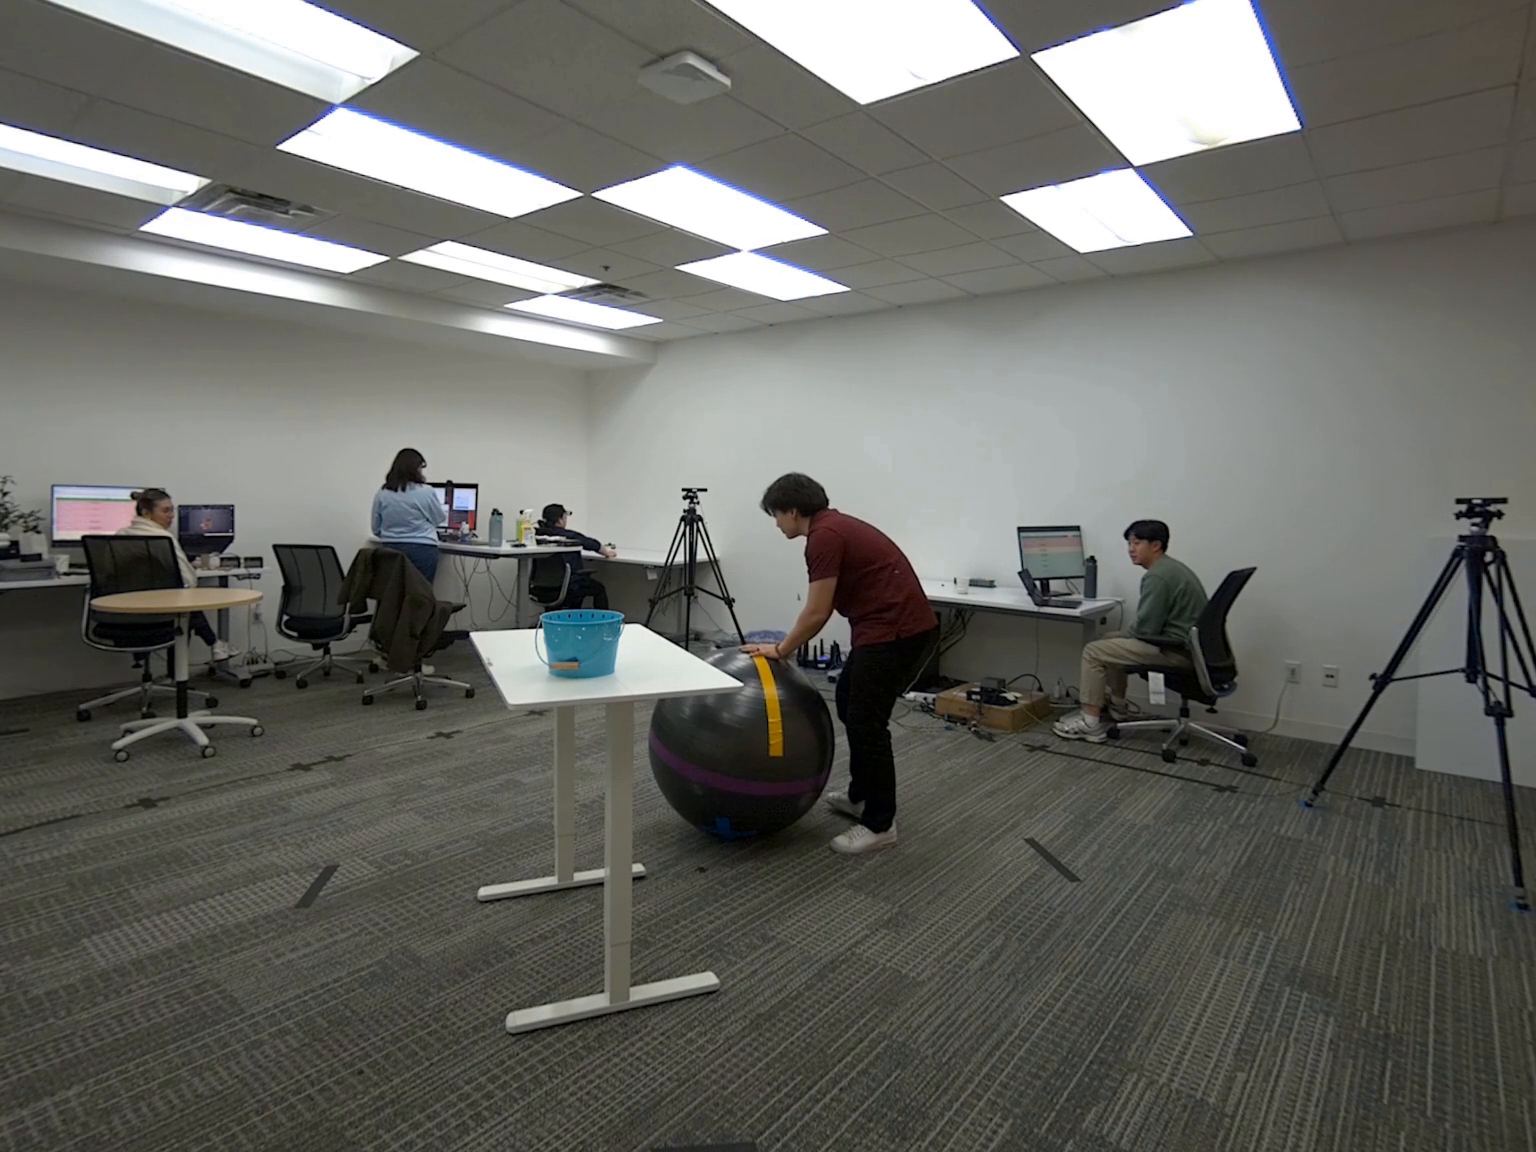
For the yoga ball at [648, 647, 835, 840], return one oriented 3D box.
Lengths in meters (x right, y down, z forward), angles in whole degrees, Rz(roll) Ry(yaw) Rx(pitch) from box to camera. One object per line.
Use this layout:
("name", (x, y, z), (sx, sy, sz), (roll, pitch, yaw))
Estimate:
("yoga ball", (-0.121, 0.670, 3.468), (0.757, 0.756, 0.762), (1, 4, -2))
